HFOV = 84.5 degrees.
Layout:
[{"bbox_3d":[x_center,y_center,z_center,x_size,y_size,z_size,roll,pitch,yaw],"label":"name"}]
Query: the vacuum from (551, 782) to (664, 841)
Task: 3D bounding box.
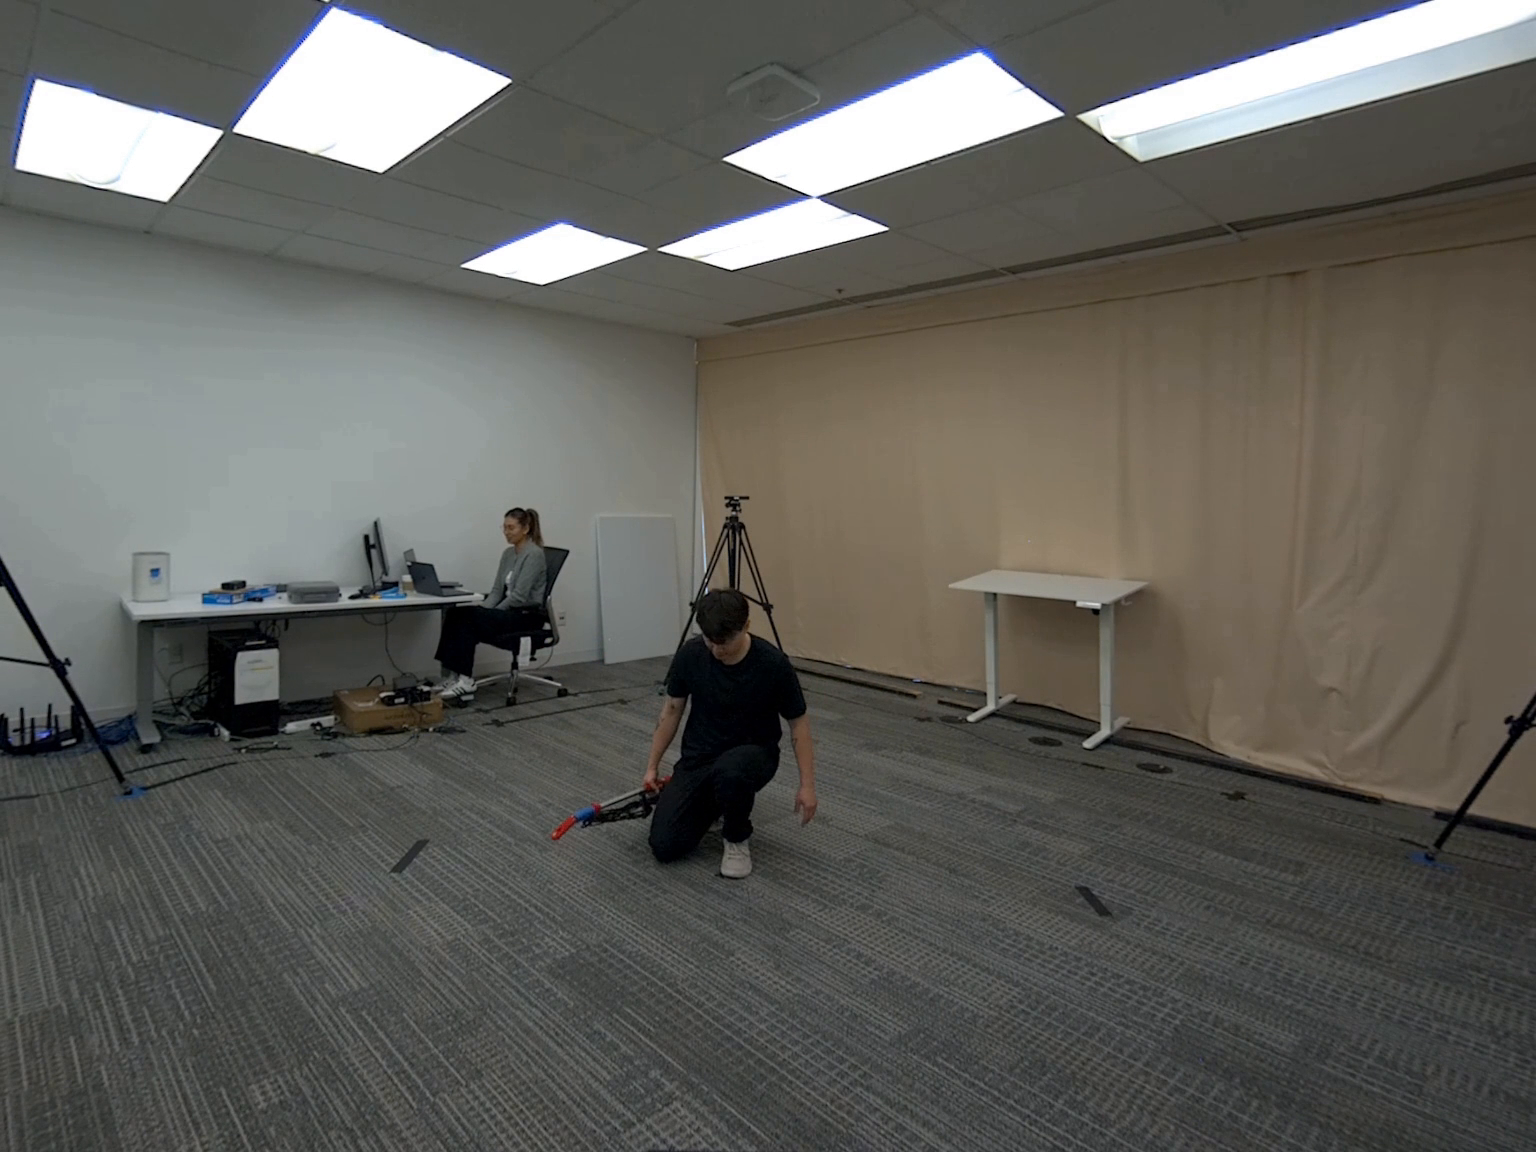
[{"bbox_3d":[-0.531,0.901,3.366,0.258,0.143,1.029,23,11,23],"label":"vacuum"}]
